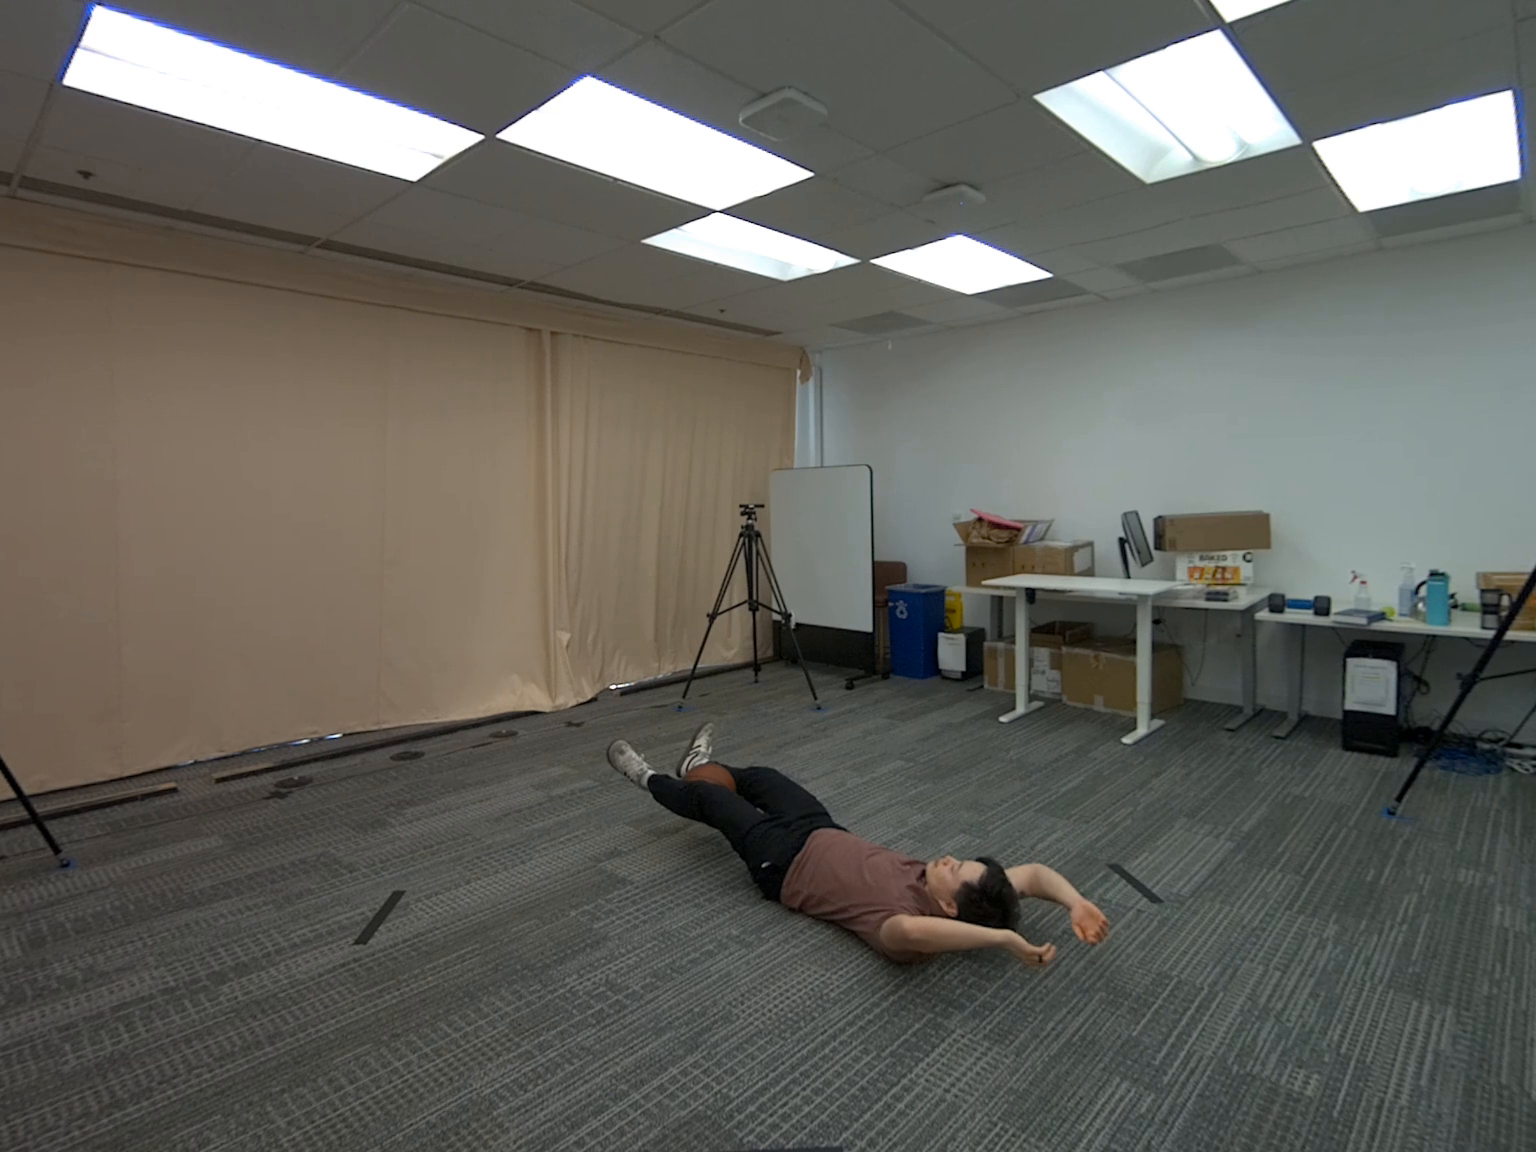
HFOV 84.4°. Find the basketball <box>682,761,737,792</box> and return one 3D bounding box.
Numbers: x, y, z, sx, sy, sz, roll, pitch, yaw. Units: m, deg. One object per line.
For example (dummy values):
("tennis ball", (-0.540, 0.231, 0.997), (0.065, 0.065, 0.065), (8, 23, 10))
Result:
("basketball", (-0.244, 0.881, 3.436), (0.236, 0.235, 0.236), (-1, 3, -2))
